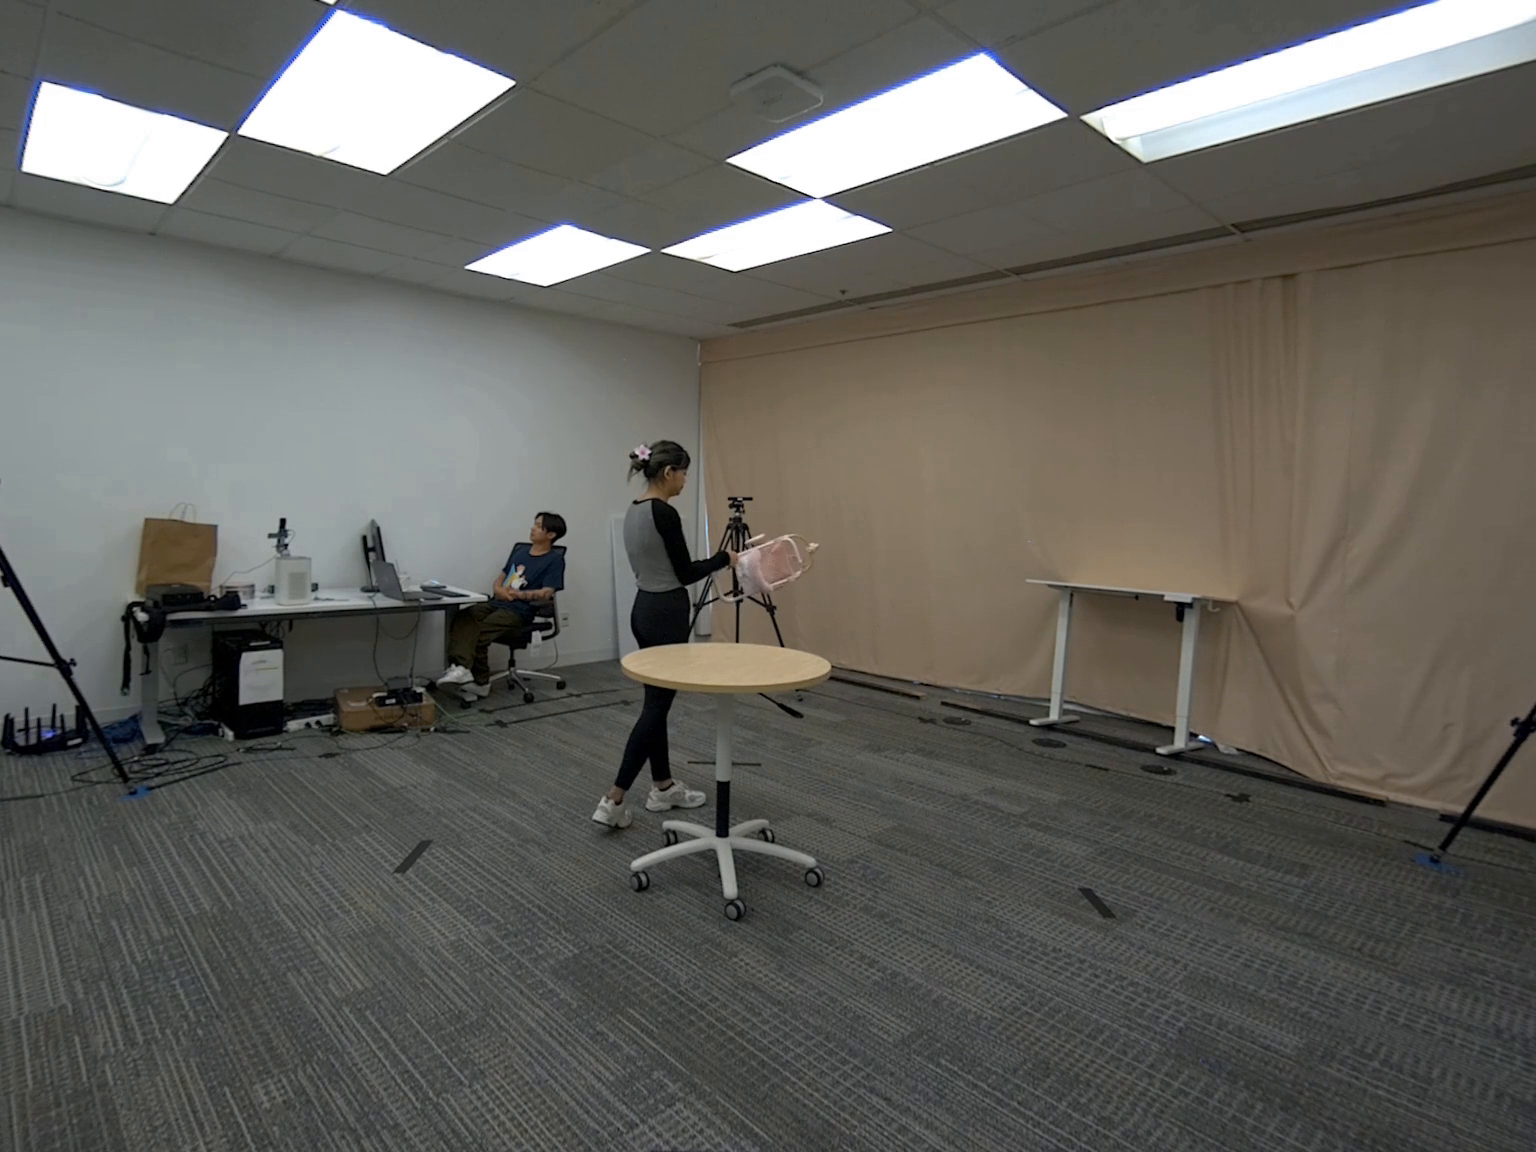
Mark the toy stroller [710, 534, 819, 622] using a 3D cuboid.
[{"bbox_3d":[-0.001,-0.054,3.961,0.346,0.280,0.529,-12,7,28],"label":"toy stroller"}]
